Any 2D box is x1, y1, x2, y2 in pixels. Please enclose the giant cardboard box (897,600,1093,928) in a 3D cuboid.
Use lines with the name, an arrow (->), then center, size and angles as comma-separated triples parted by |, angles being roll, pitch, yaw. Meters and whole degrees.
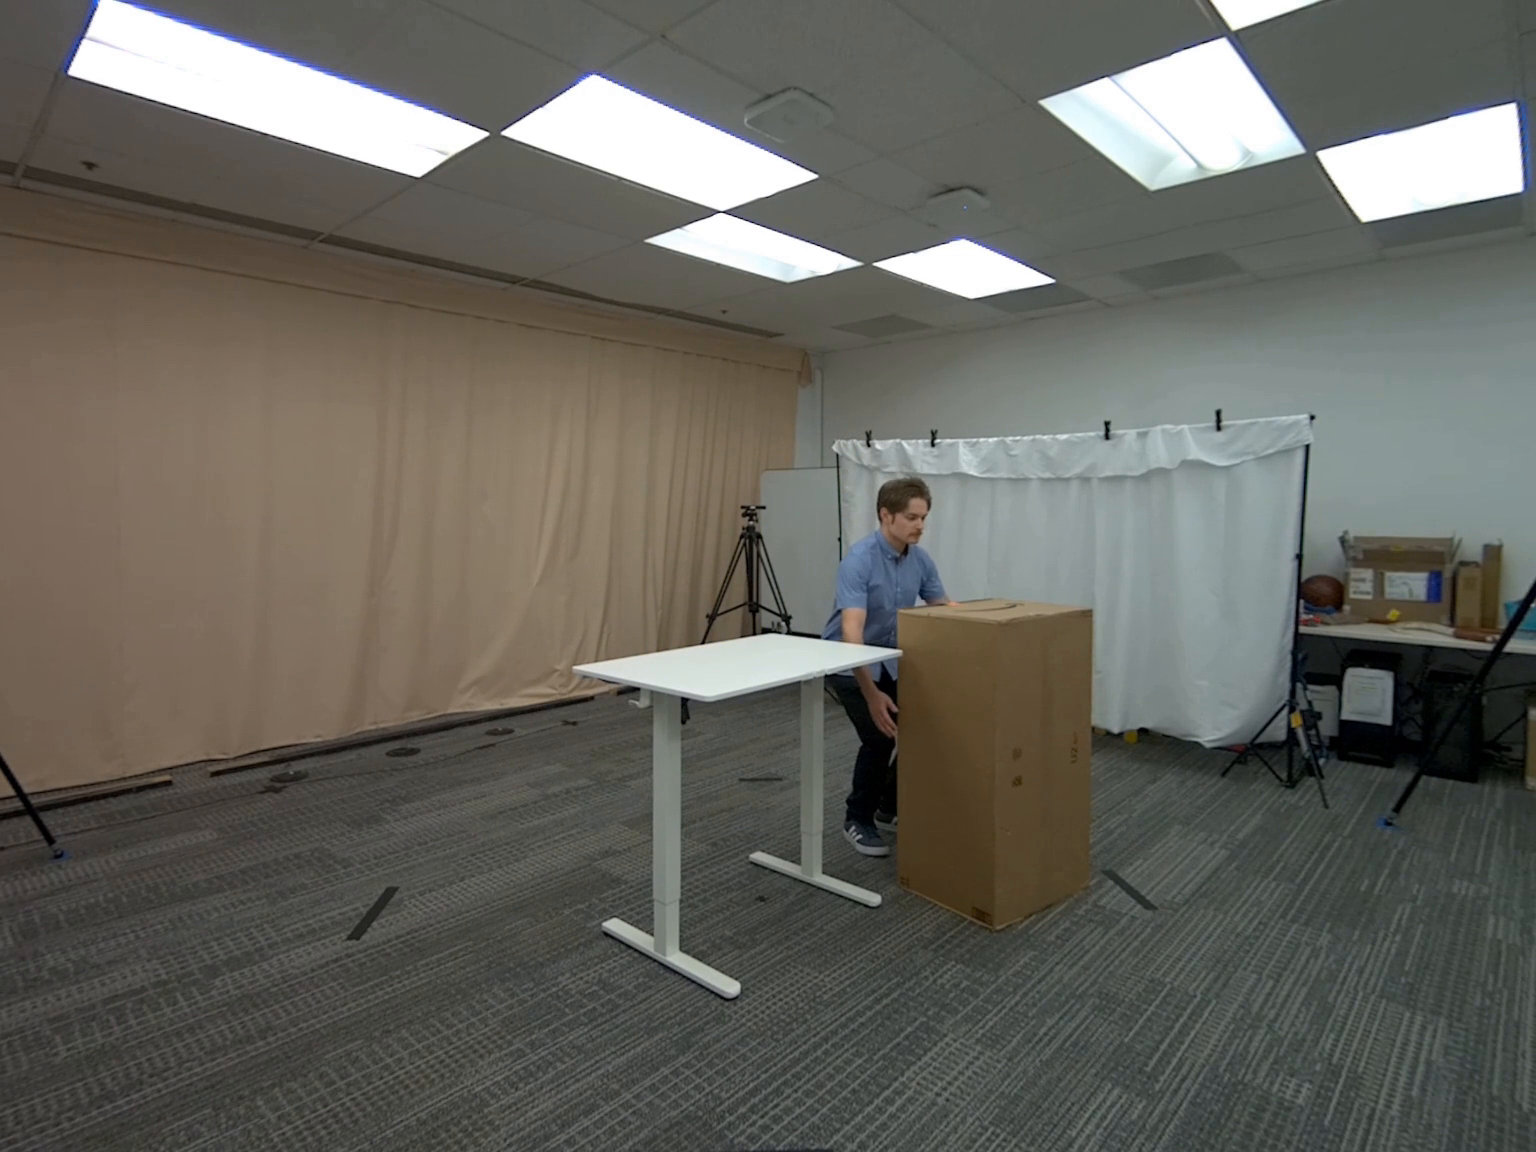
giant cardboard box -> 0.828, 0.625, 3.052 | 0.560, 1.024, 0.440 | -2, 4, -39
